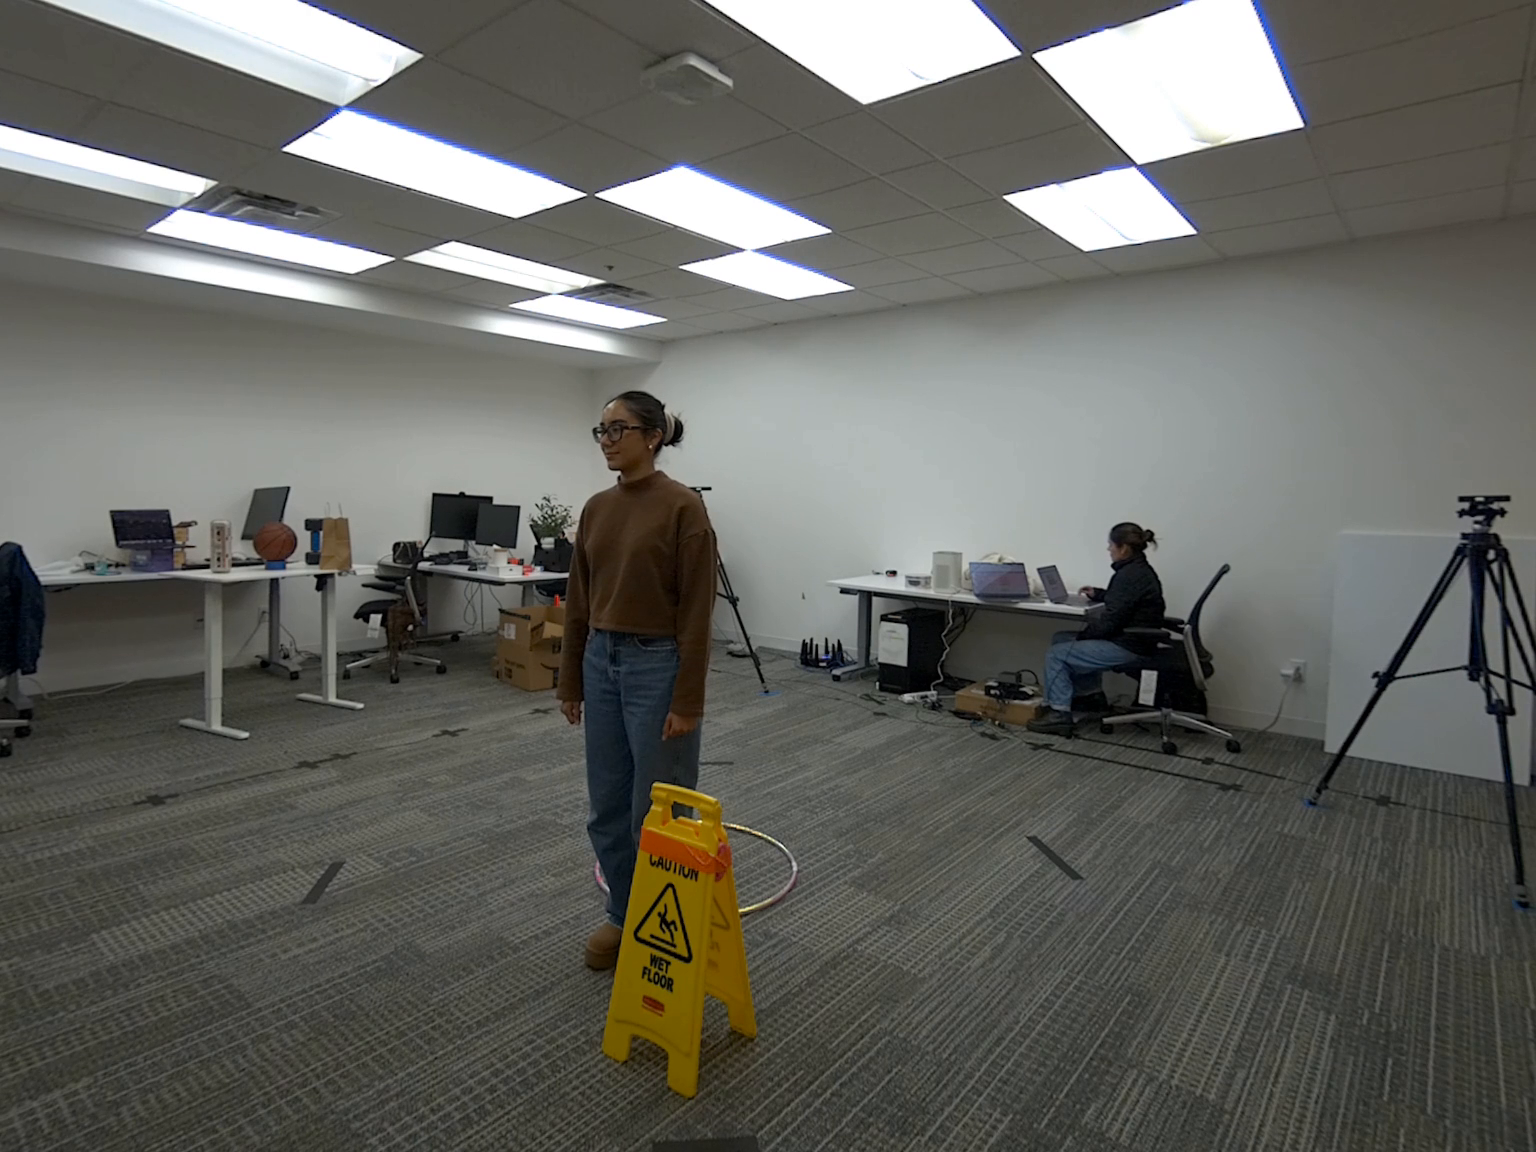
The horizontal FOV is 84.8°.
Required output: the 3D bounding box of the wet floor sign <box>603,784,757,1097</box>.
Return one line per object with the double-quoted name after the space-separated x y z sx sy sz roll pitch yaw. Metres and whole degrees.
-0.214 0.847 2.098 0.291 0.644 0.282 2 3 32 "wet floor sign"
